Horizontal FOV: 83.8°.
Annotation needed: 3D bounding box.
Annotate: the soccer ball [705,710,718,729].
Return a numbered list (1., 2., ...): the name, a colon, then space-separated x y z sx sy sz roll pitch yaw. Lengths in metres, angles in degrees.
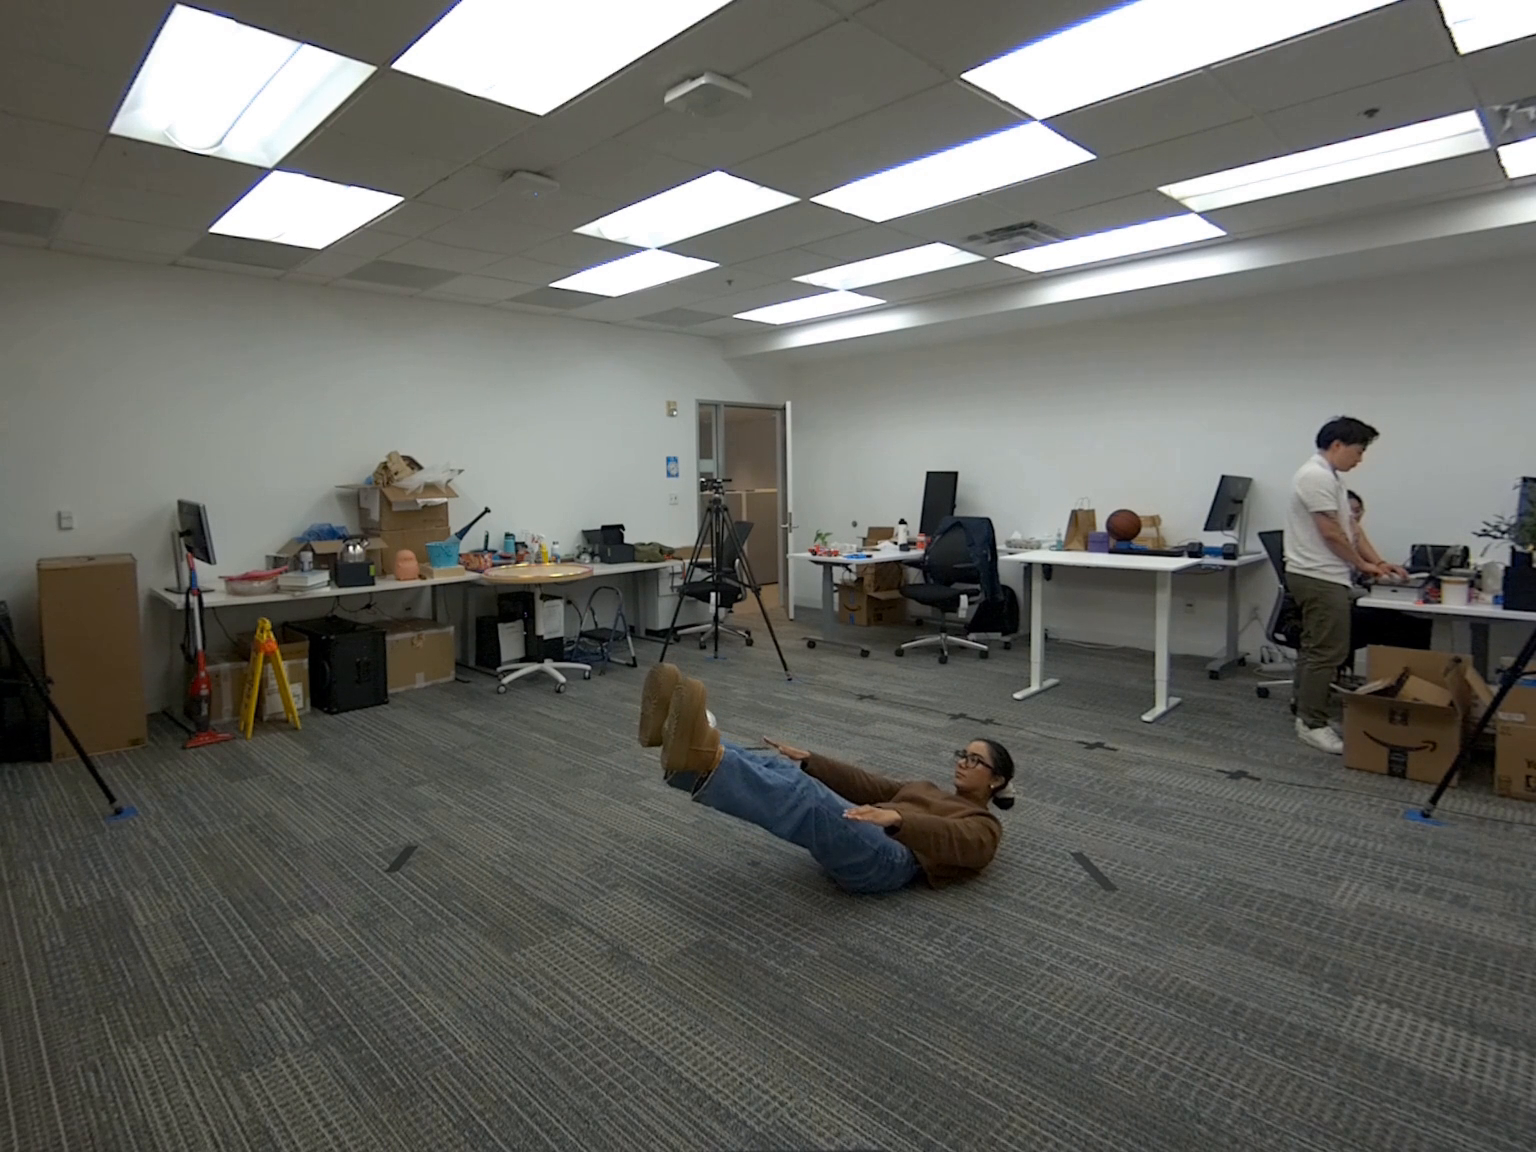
1. soccer ball: -0.233 0.506 2.691 0.187 0.187 0.188 -1 5 -2
